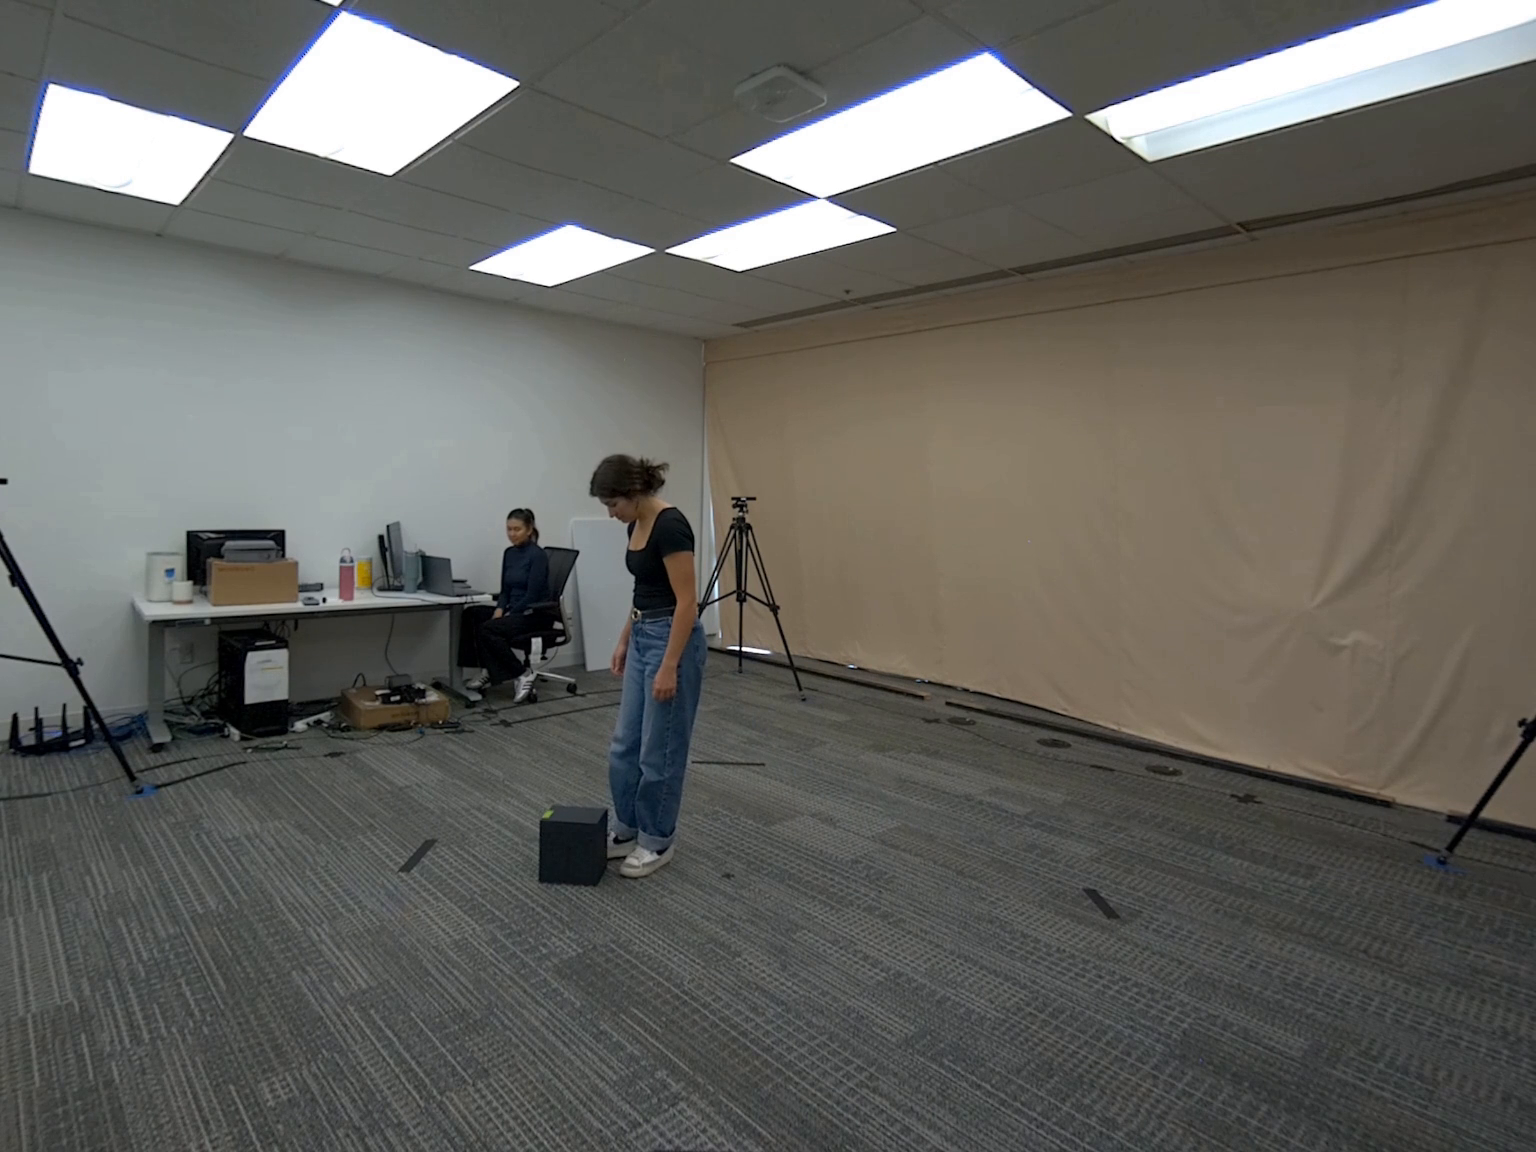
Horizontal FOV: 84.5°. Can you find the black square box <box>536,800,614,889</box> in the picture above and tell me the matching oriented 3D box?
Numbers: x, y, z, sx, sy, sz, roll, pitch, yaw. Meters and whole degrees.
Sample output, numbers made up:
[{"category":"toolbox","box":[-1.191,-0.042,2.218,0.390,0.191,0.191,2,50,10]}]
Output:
[{"category":"black square box","box":[-0.715,0.975,3.077,0.217,0.227,0.156,1,4,3]}]
